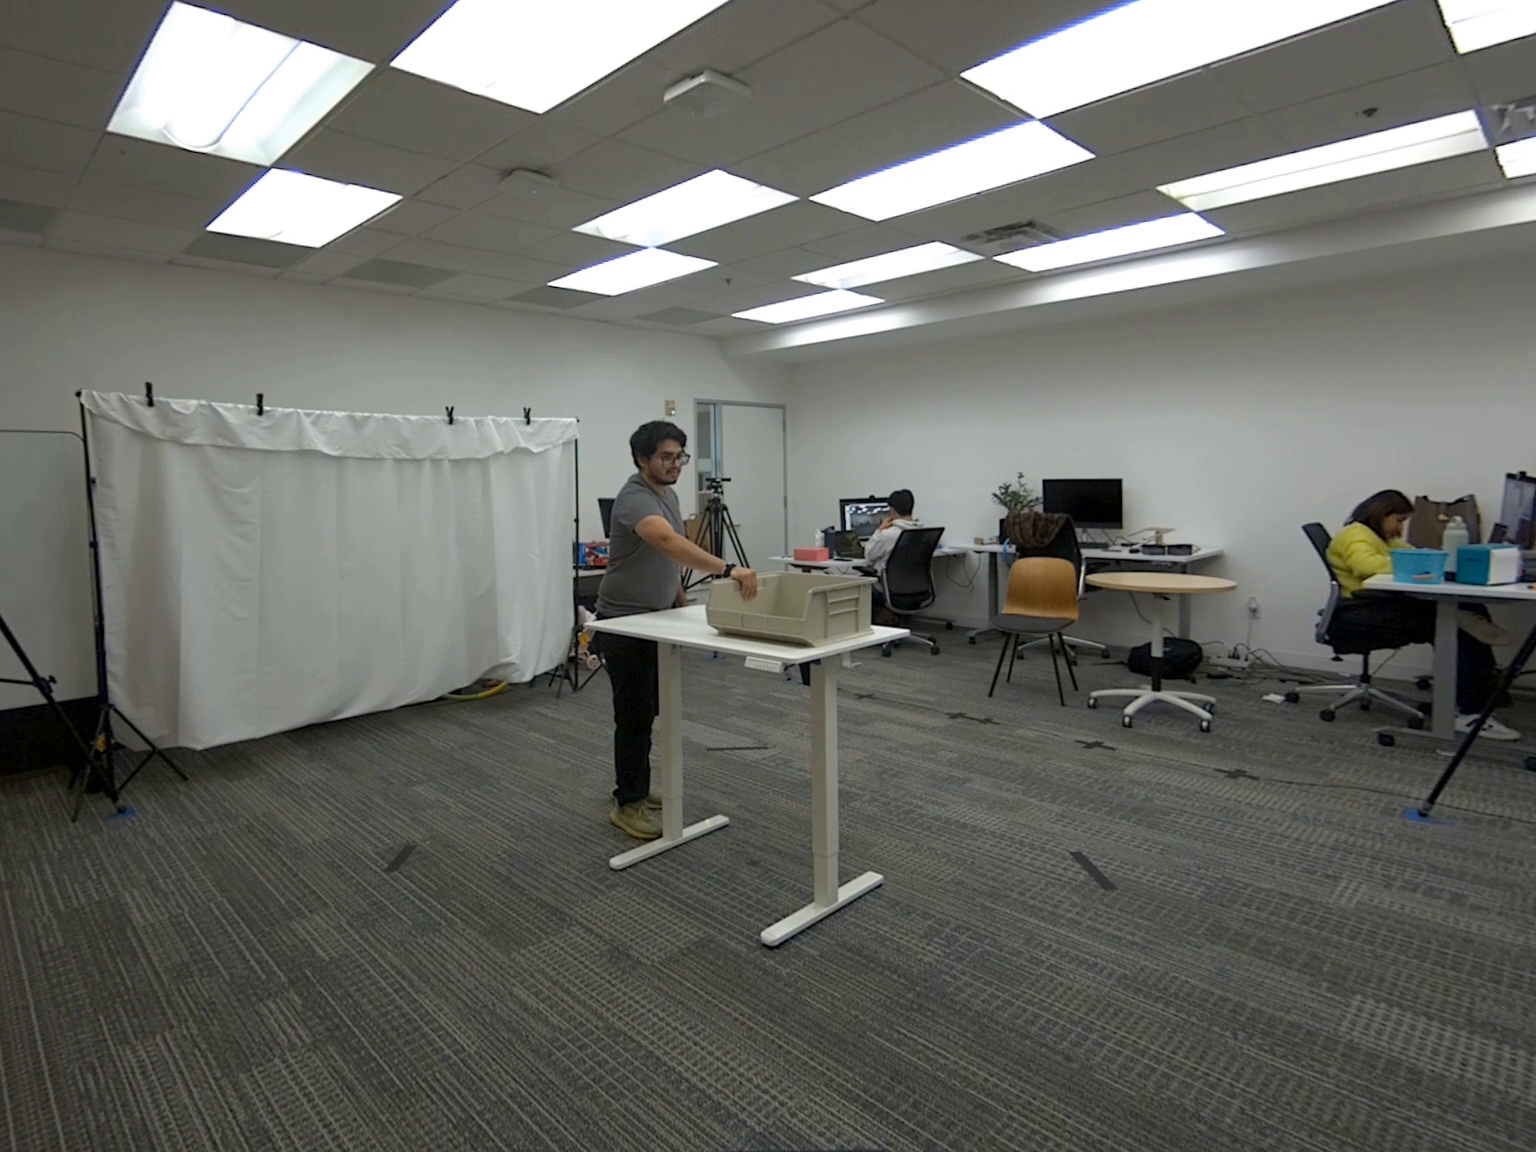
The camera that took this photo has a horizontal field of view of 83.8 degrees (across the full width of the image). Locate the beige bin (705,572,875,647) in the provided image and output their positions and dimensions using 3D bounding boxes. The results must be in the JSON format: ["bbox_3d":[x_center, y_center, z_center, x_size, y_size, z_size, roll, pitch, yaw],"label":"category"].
[{"bbox_3d":[0.076,0.105,2.780,0.435,0.188,0.367,4,6,44],"label":"beige bin"}]
